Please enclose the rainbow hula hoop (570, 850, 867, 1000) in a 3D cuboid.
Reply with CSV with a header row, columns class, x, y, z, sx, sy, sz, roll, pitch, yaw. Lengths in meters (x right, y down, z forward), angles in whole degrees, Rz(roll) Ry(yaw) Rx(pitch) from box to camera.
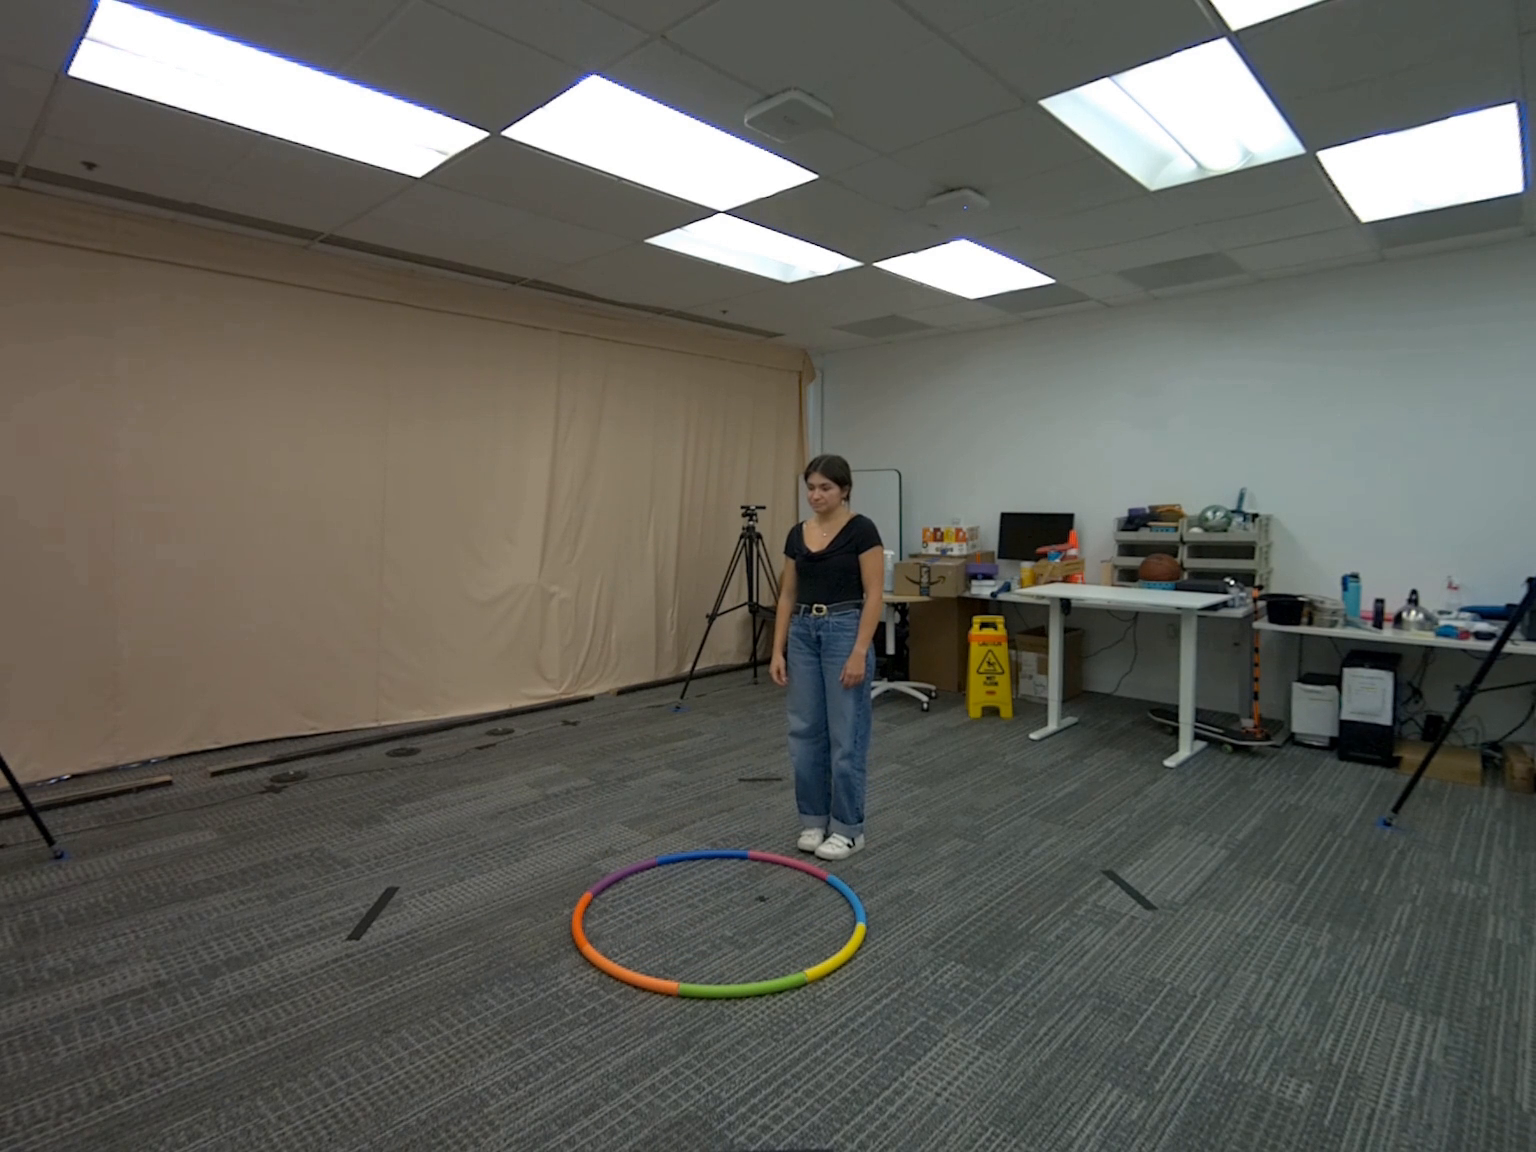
class,x,y,z,sx,sy,sz,roll,pitch,yaw
rainbow hula hoop,-0.159,1.127,2.860,0.978,0.035,0.982,-1,5,-2
